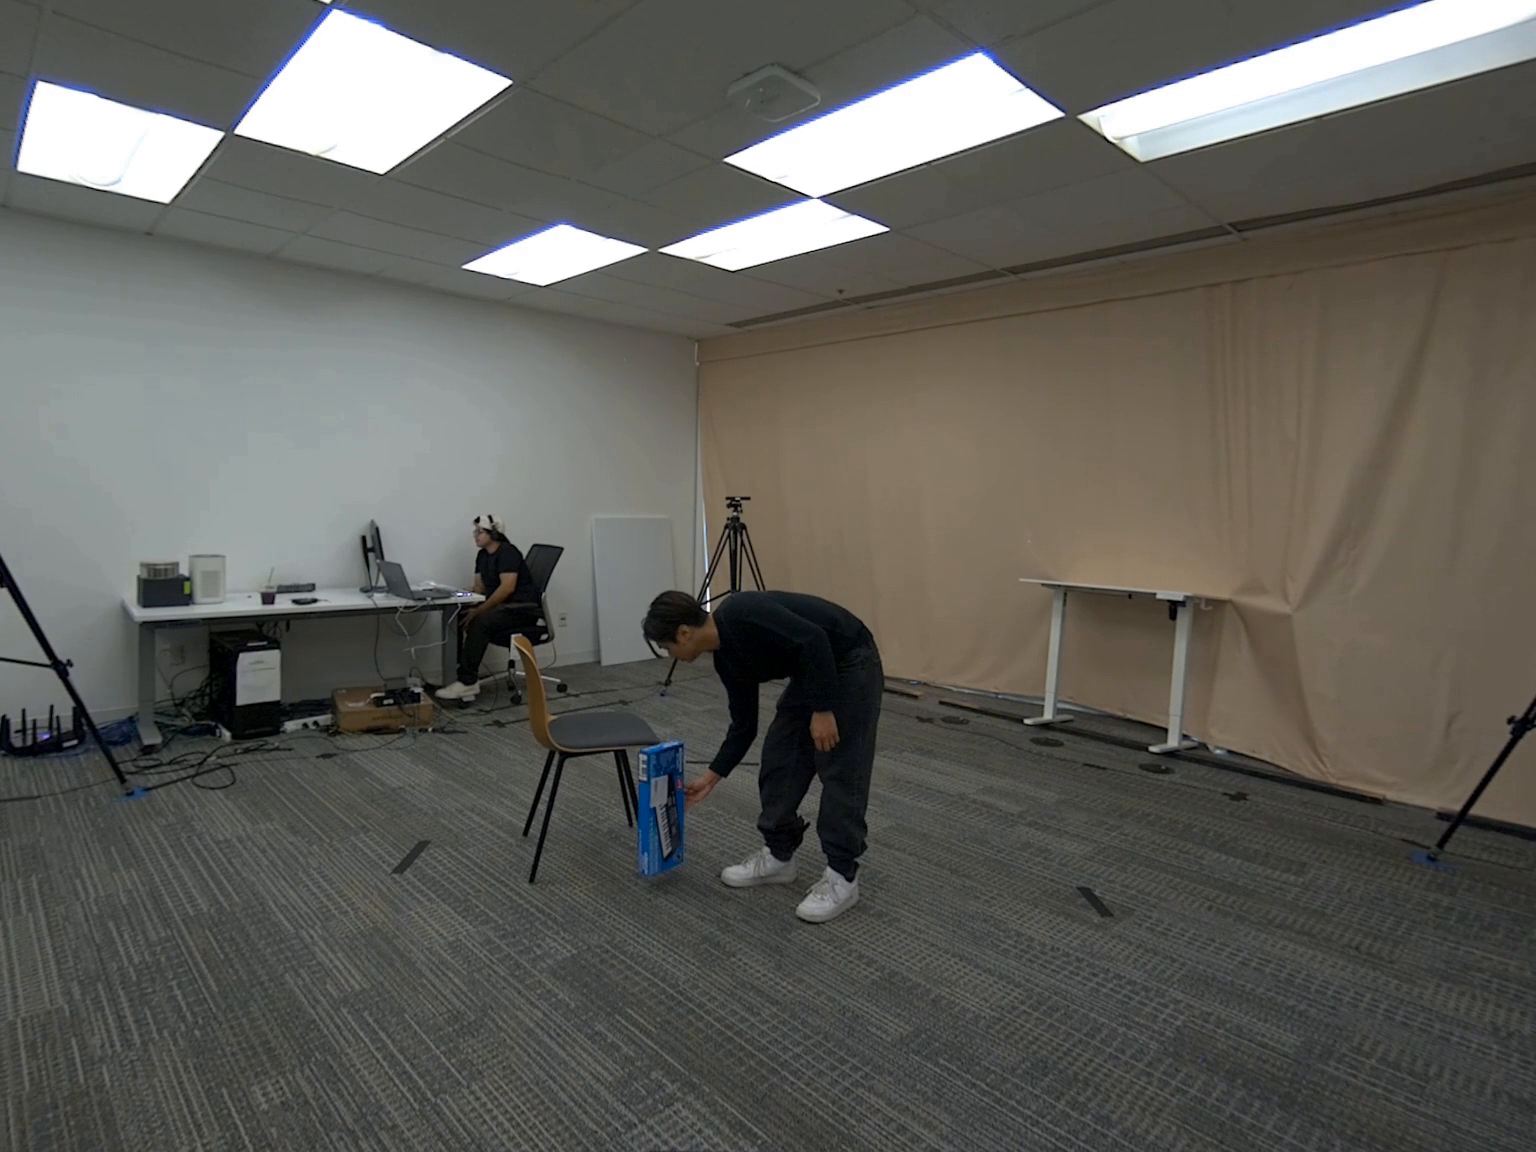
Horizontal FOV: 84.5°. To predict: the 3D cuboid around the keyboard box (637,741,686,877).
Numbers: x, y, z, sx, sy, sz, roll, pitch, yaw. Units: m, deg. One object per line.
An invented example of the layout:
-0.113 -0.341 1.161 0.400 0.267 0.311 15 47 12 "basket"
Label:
-0.381 0.825 3.016 0.060 0.436 0.172 1 2 42 "keyboard box"
